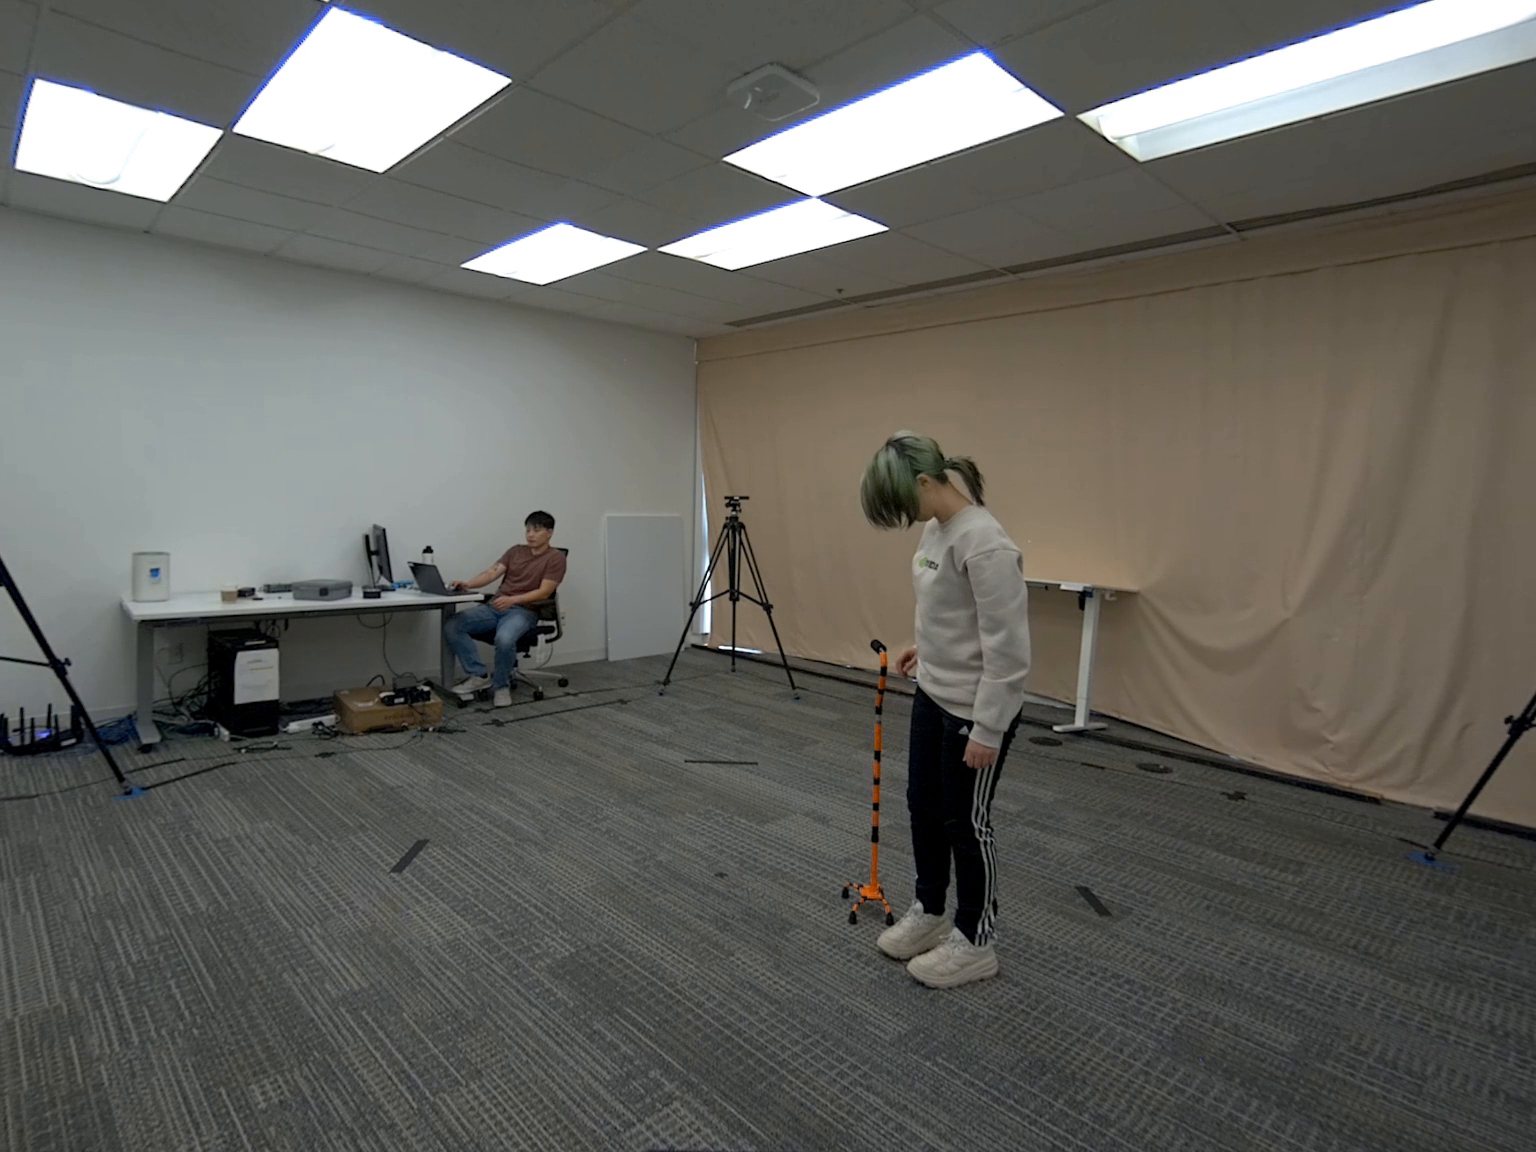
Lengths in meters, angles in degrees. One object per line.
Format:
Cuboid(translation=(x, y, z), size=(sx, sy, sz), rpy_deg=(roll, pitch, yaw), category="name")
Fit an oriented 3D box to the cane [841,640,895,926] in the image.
Cuboid(translation=(0.347, 0.689, 2.836), size=(0.151, 0.905, 0.207), rpy_deg=(2, 4, -3), category="cane")
